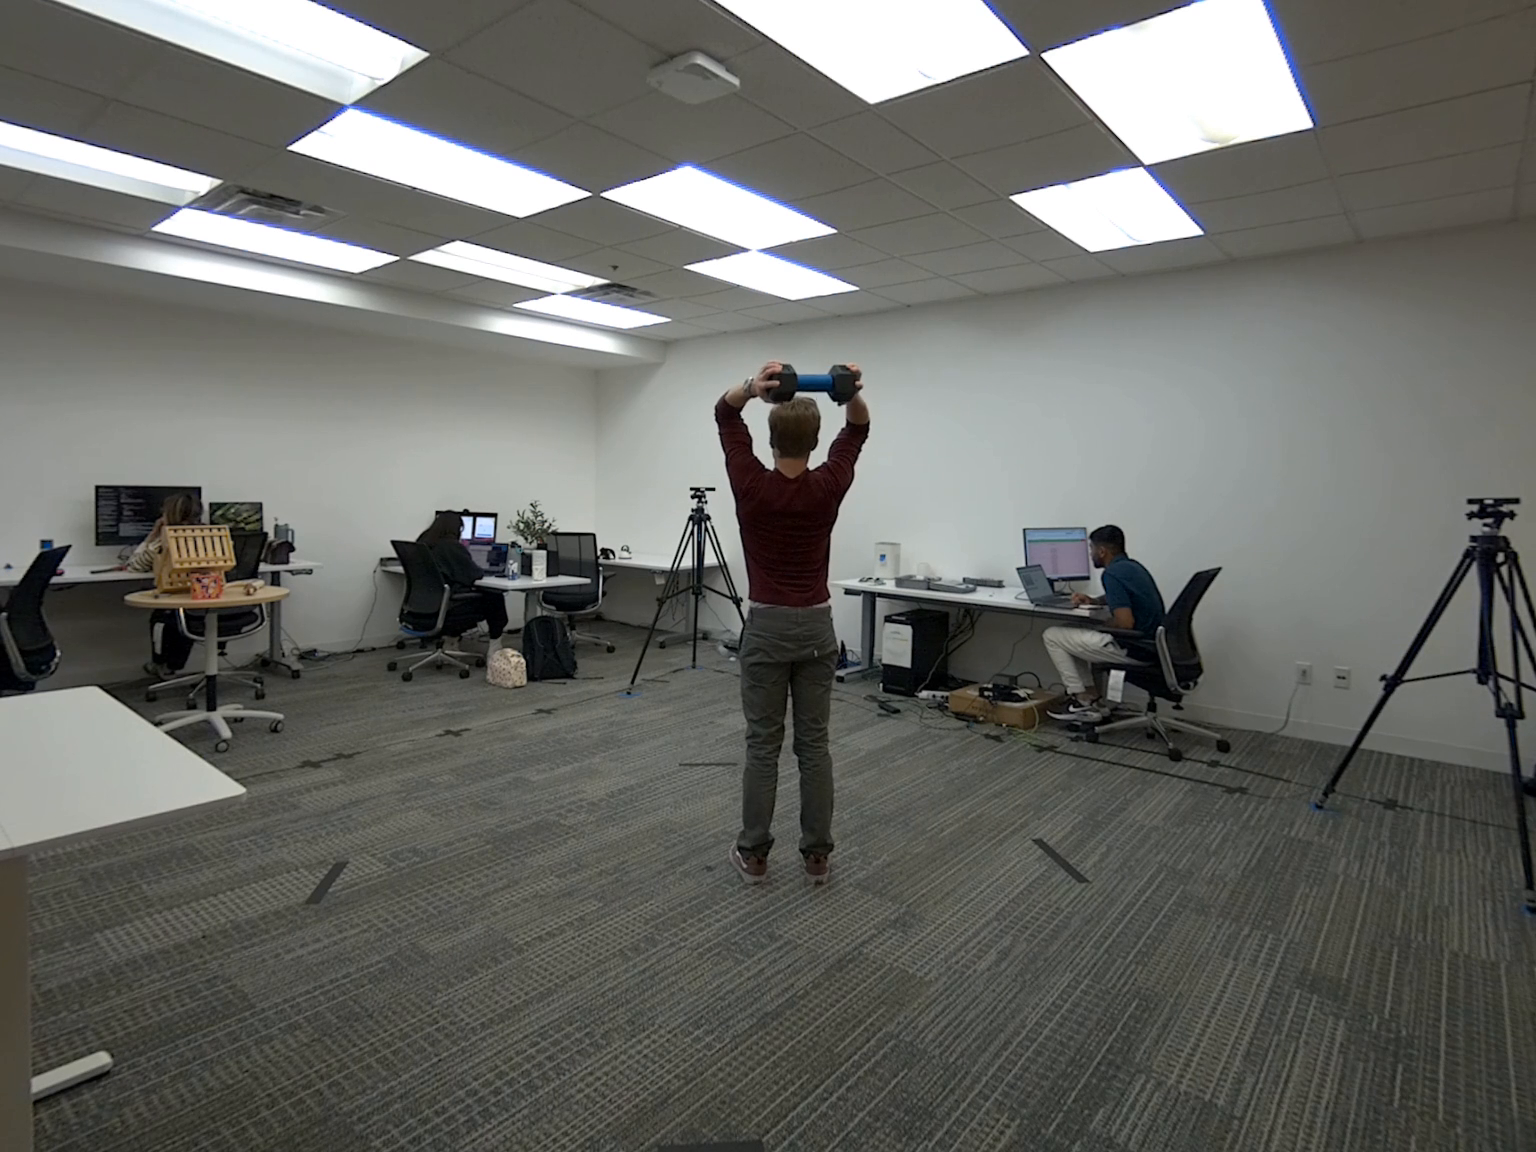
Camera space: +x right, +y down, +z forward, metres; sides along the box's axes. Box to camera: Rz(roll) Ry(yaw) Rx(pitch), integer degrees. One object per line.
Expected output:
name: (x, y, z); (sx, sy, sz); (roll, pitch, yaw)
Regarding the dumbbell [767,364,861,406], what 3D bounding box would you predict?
dumbbell: (0.130, -0.646, 2.820); (0.290, 0.106, 0.127); (0, 39, -11)
